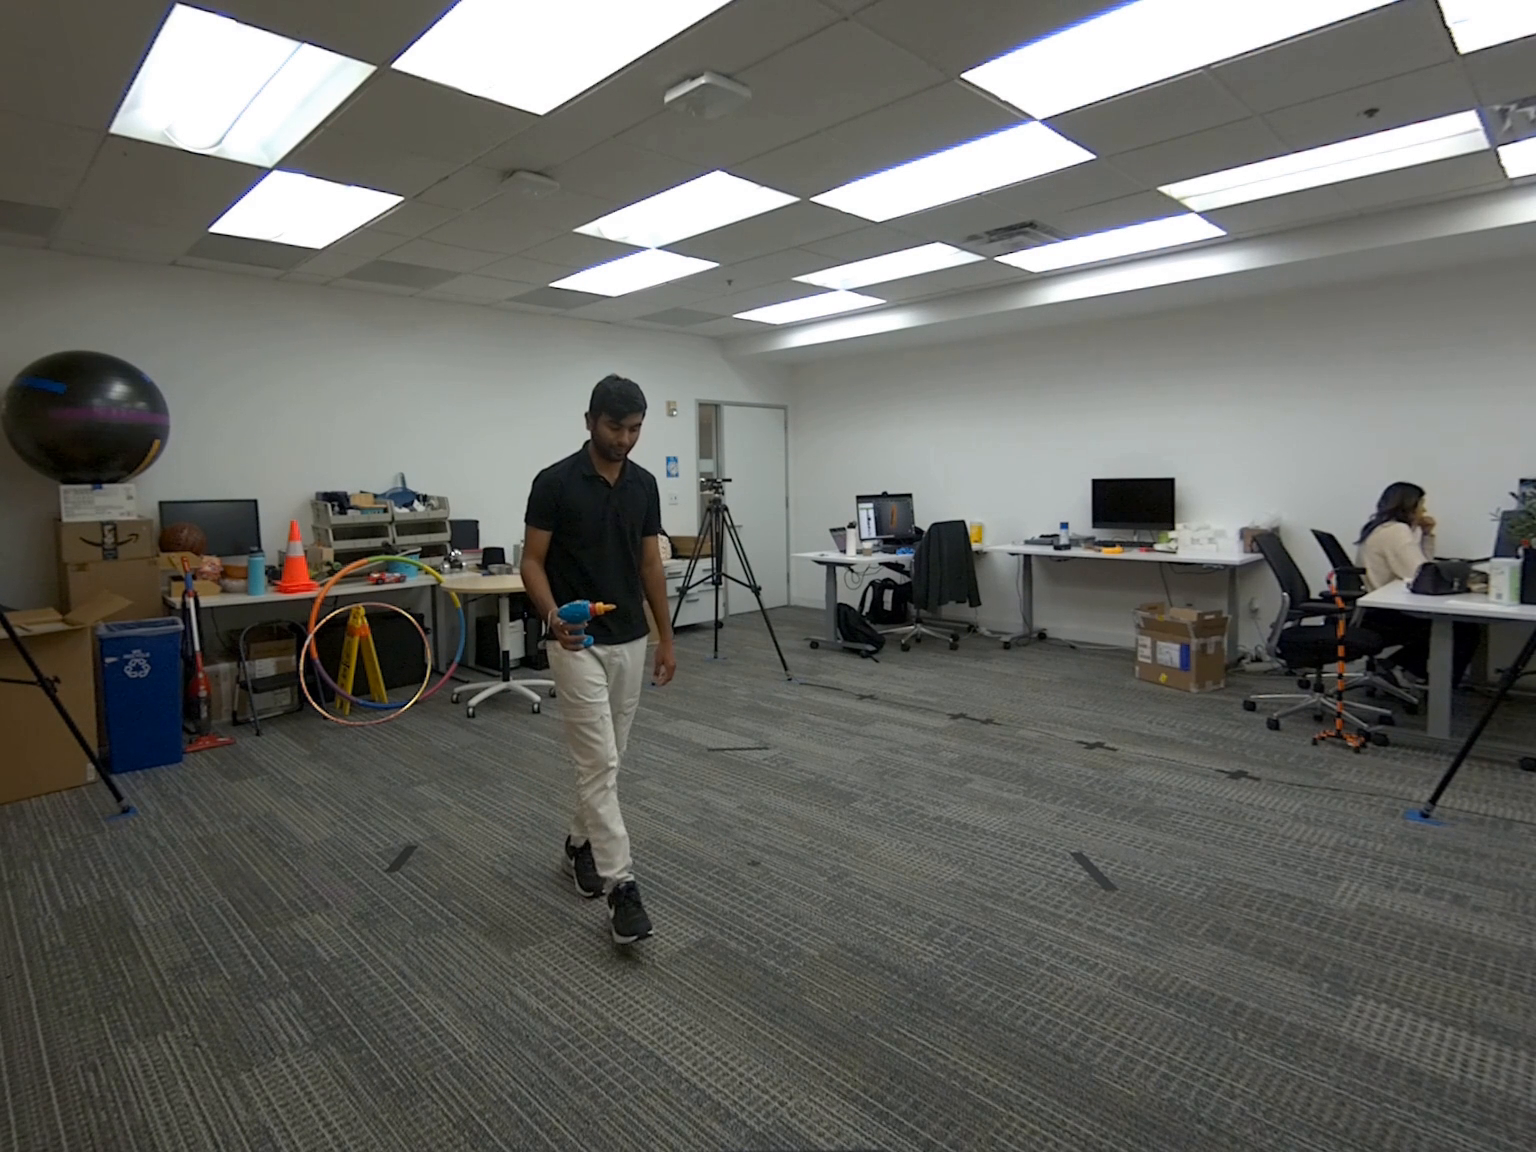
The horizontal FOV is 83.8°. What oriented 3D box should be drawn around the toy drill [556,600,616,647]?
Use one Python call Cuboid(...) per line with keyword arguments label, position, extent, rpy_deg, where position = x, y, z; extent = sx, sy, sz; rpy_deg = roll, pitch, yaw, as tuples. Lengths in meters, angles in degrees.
Cuboid(label="toy drill", position=(-0.514, 0.136, 2.461), extent=(0.170, 0.142, 0.062), rpy_deg=(-9, 25, -1))
